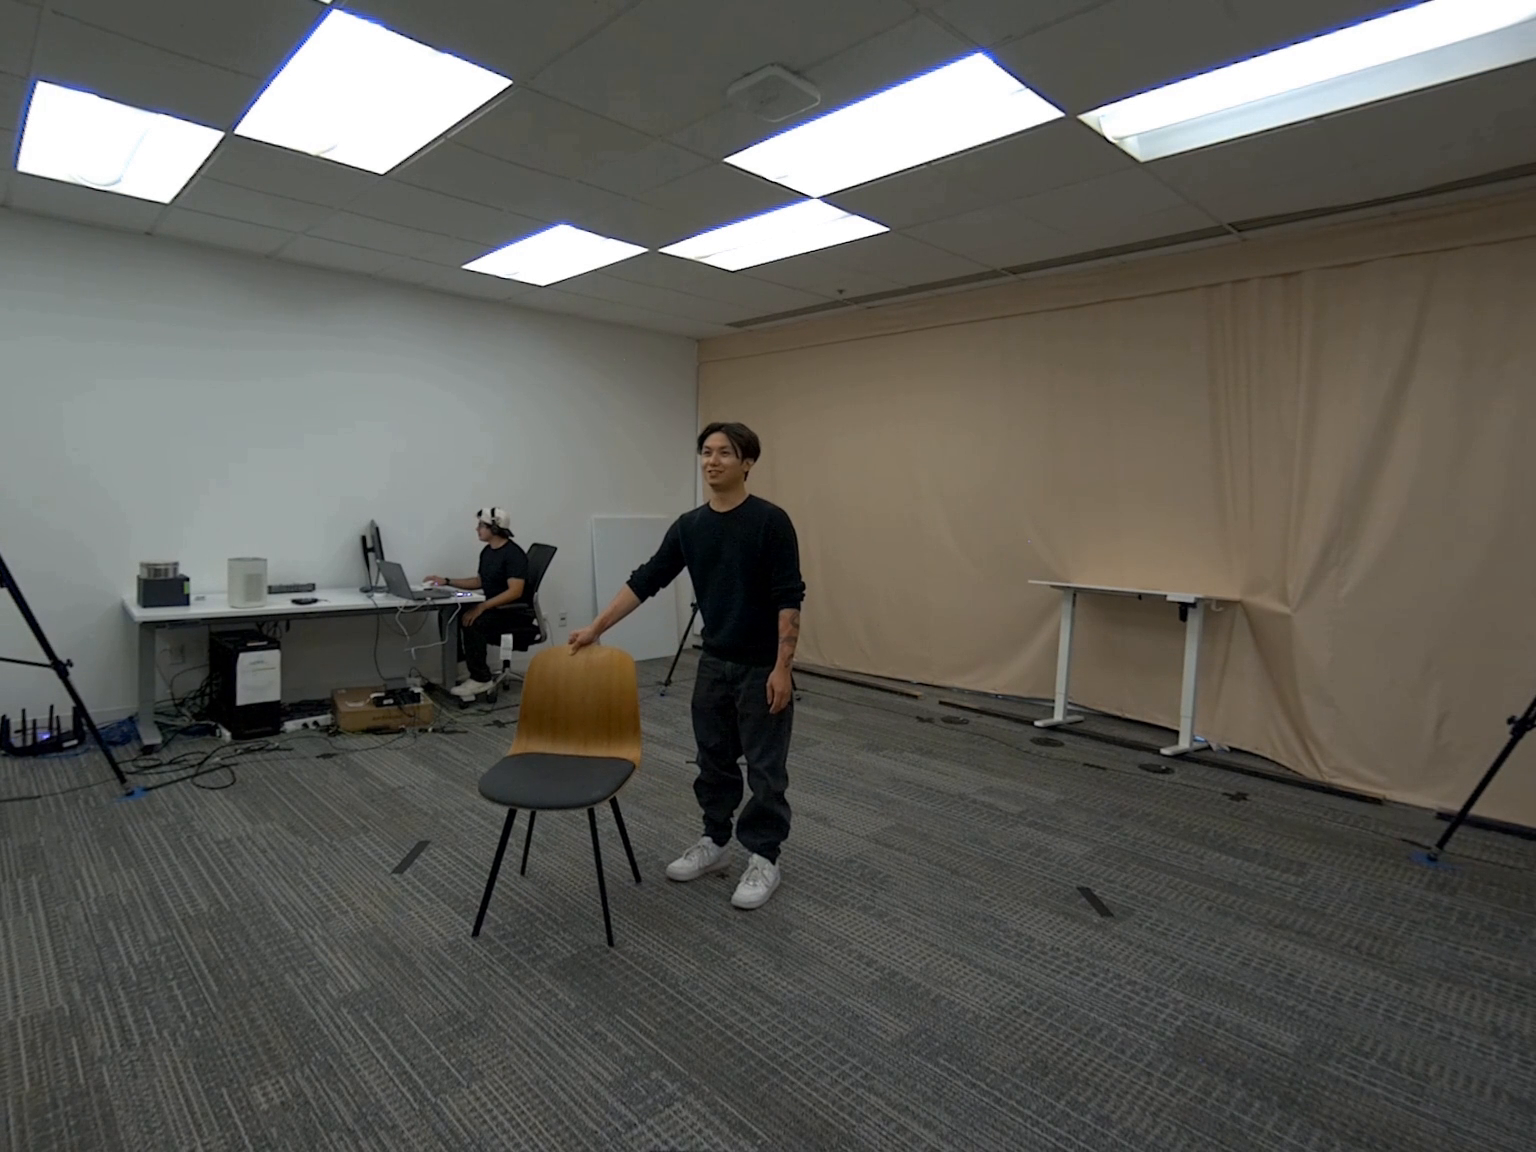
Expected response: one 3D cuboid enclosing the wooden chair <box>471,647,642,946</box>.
[{"bbox_3d":[-0.683,0.696,2.798,0.480,0.878,0.521,2,0,3],"label":"wooden chair"}]
